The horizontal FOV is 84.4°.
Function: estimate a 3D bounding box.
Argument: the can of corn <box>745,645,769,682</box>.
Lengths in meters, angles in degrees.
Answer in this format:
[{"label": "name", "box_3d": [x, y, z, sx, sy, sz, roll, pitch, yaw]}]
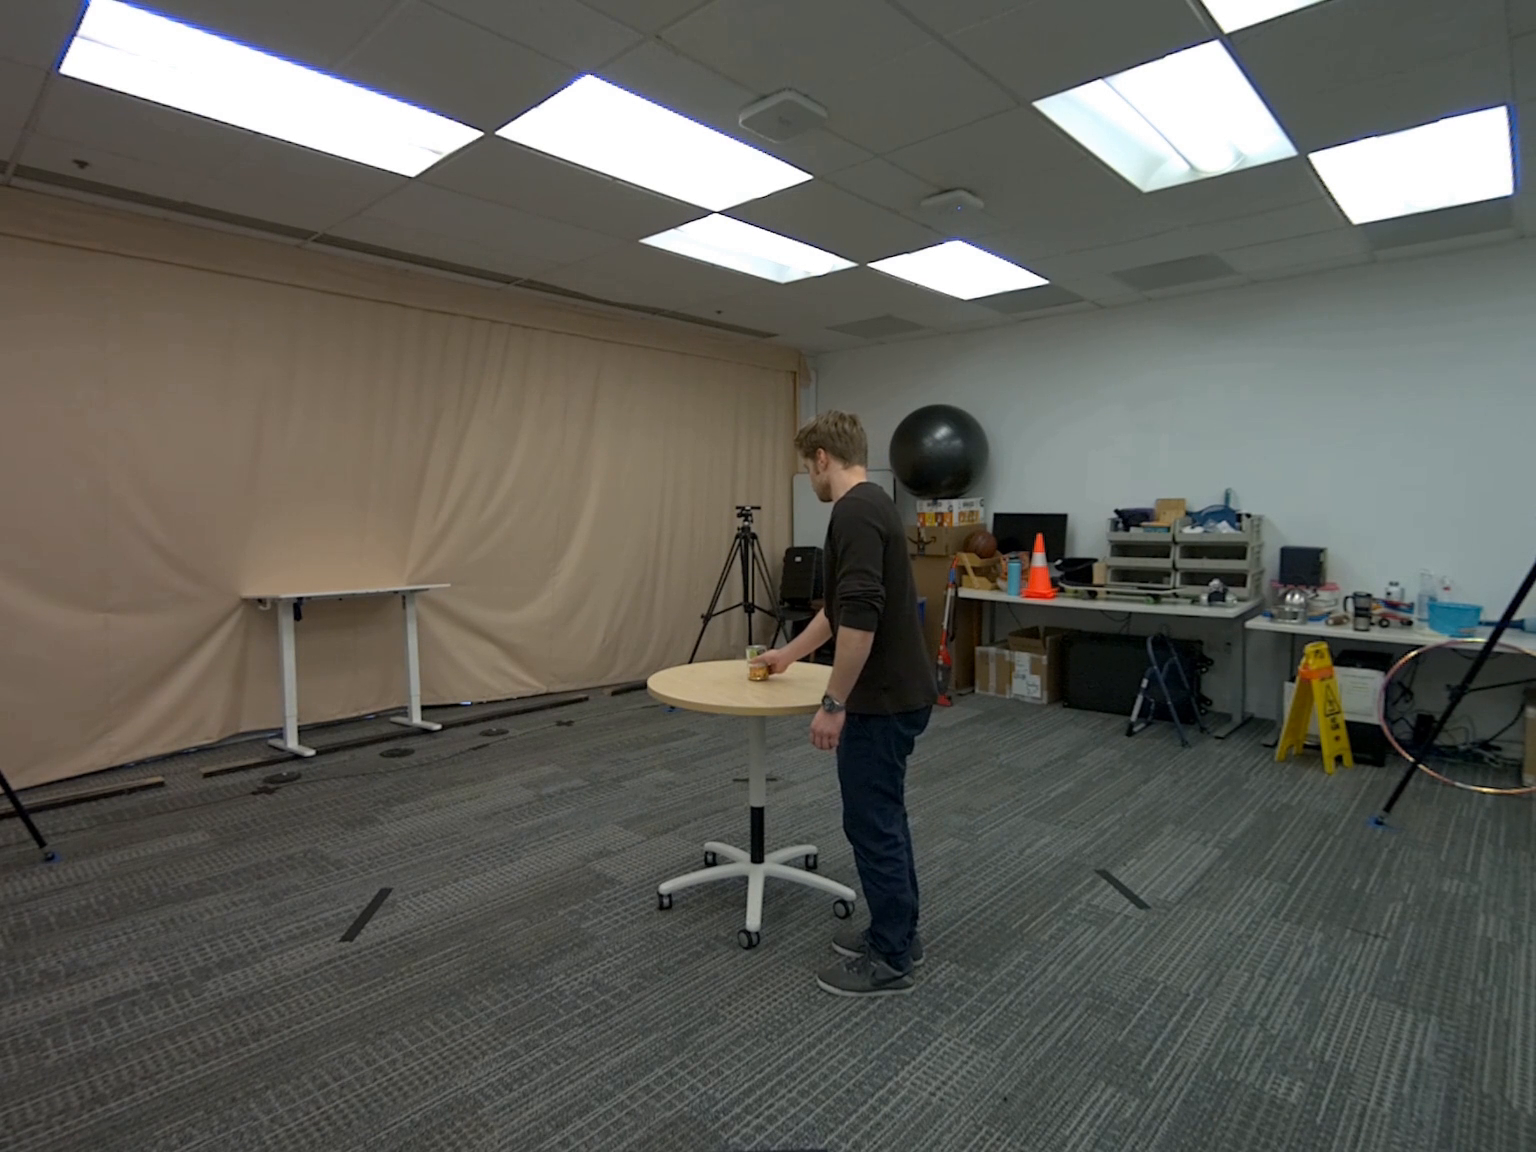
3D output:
[{"label": "can of corn", "box_3d": [-0.035, 0.306, 2.953, 0.074, 0.111, 0.074, 0, 2, -2]}]
